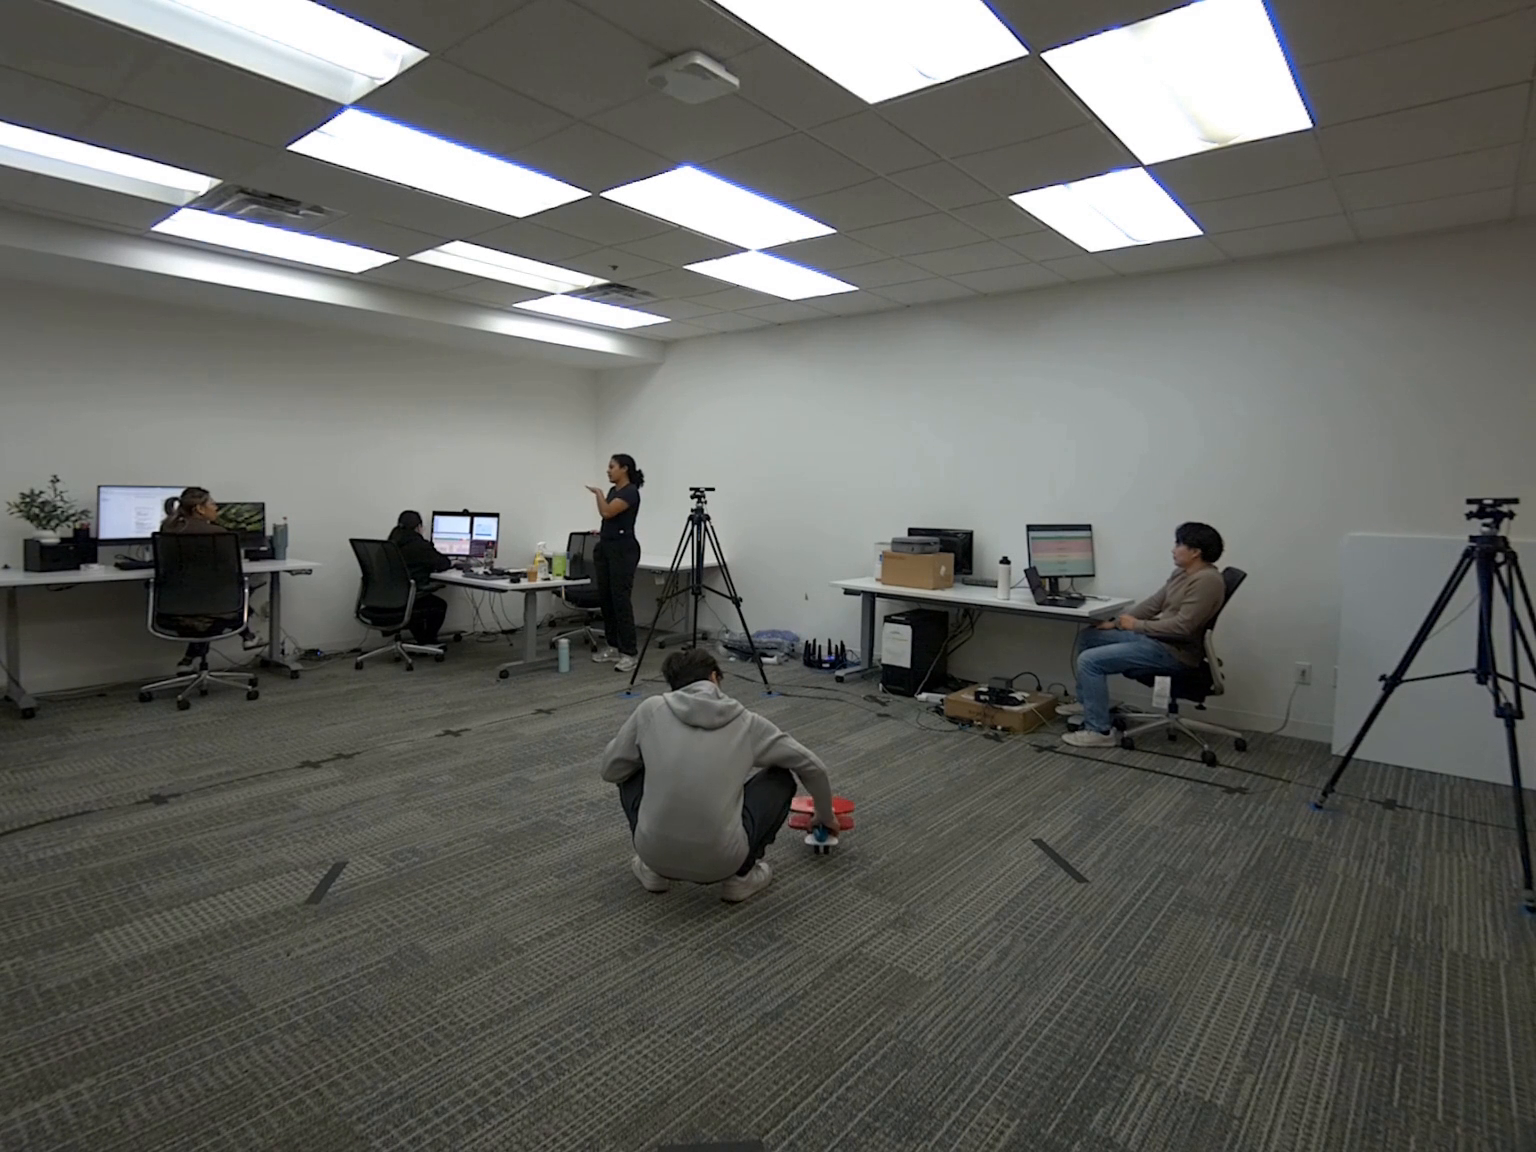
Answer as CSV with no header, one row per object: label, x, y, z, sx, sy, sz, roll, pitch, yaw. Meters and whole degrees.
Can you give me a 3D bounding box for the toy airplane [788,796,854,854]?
toy airplane,0.212,0.956,3.260,0.246,0.155,0.266,-5,8,-22
